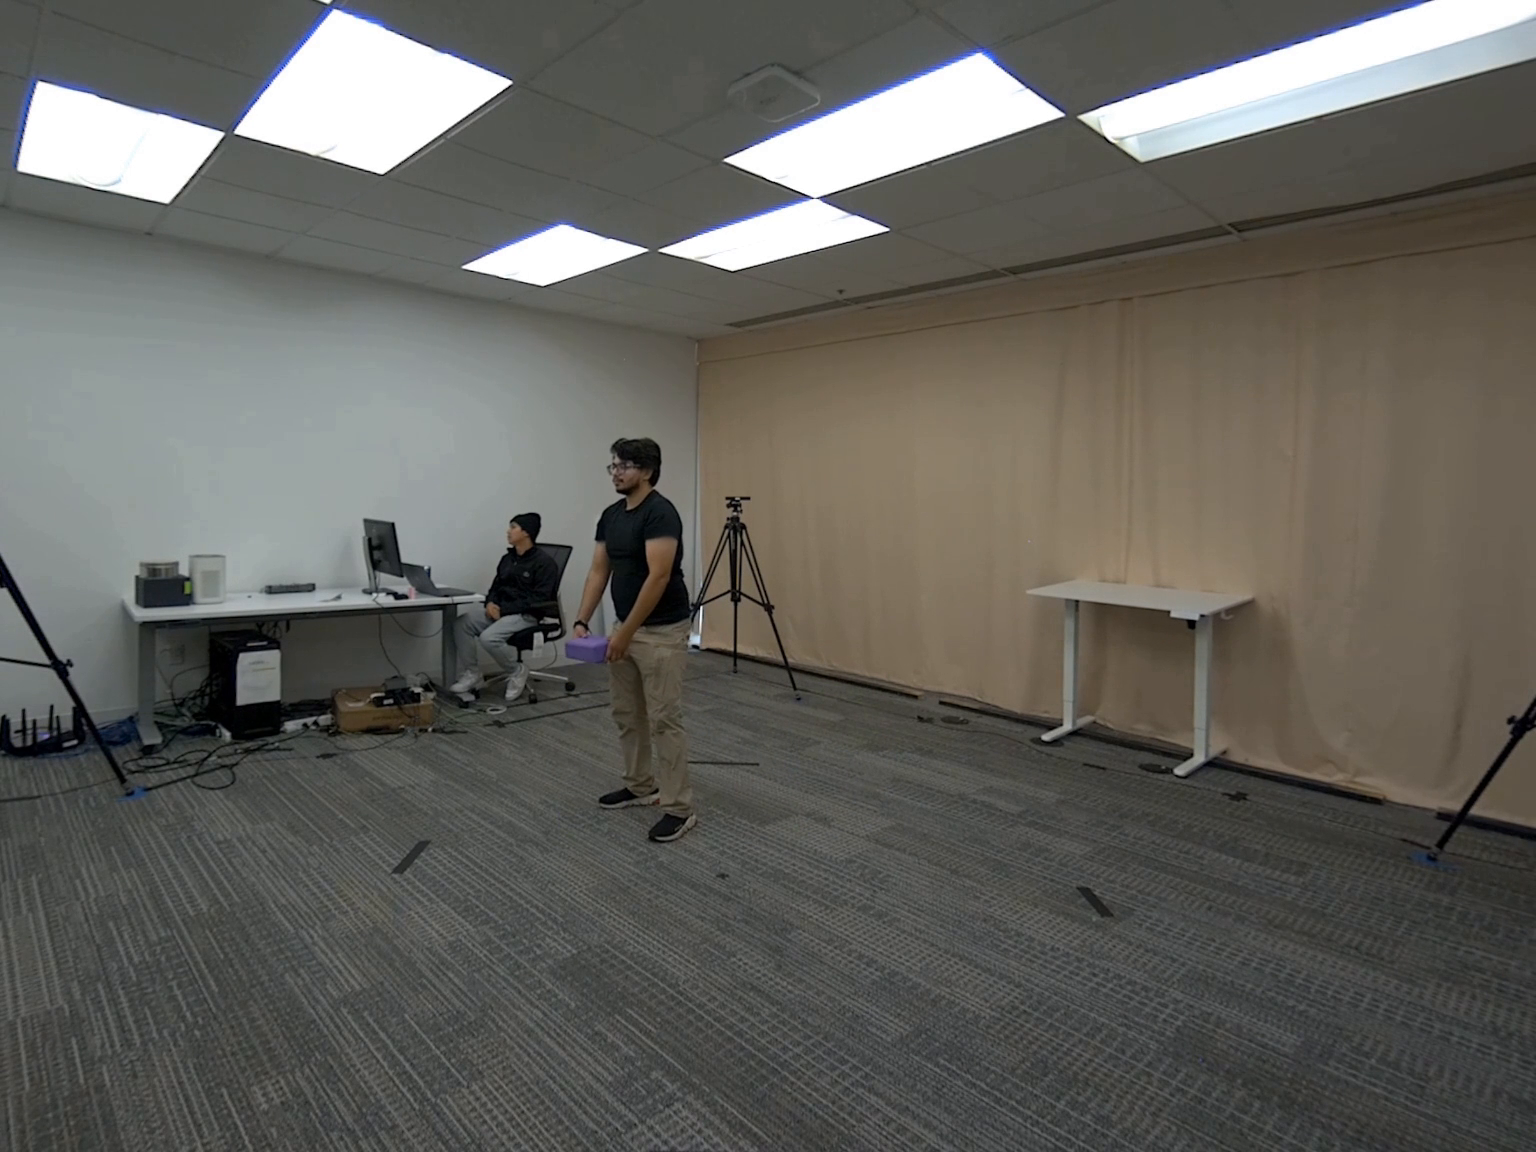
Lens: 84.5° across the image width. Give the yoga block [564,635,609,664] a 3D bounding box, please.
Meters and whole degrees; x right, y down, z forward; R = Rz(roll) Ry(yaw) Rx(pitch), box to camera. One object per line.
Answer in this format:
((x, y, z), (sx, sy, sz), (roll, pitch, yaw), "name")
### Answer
((-0.745, 0.305, 3.531), (0.235, 0.076, 0.146), (1, 9, 42), "yoga block")
